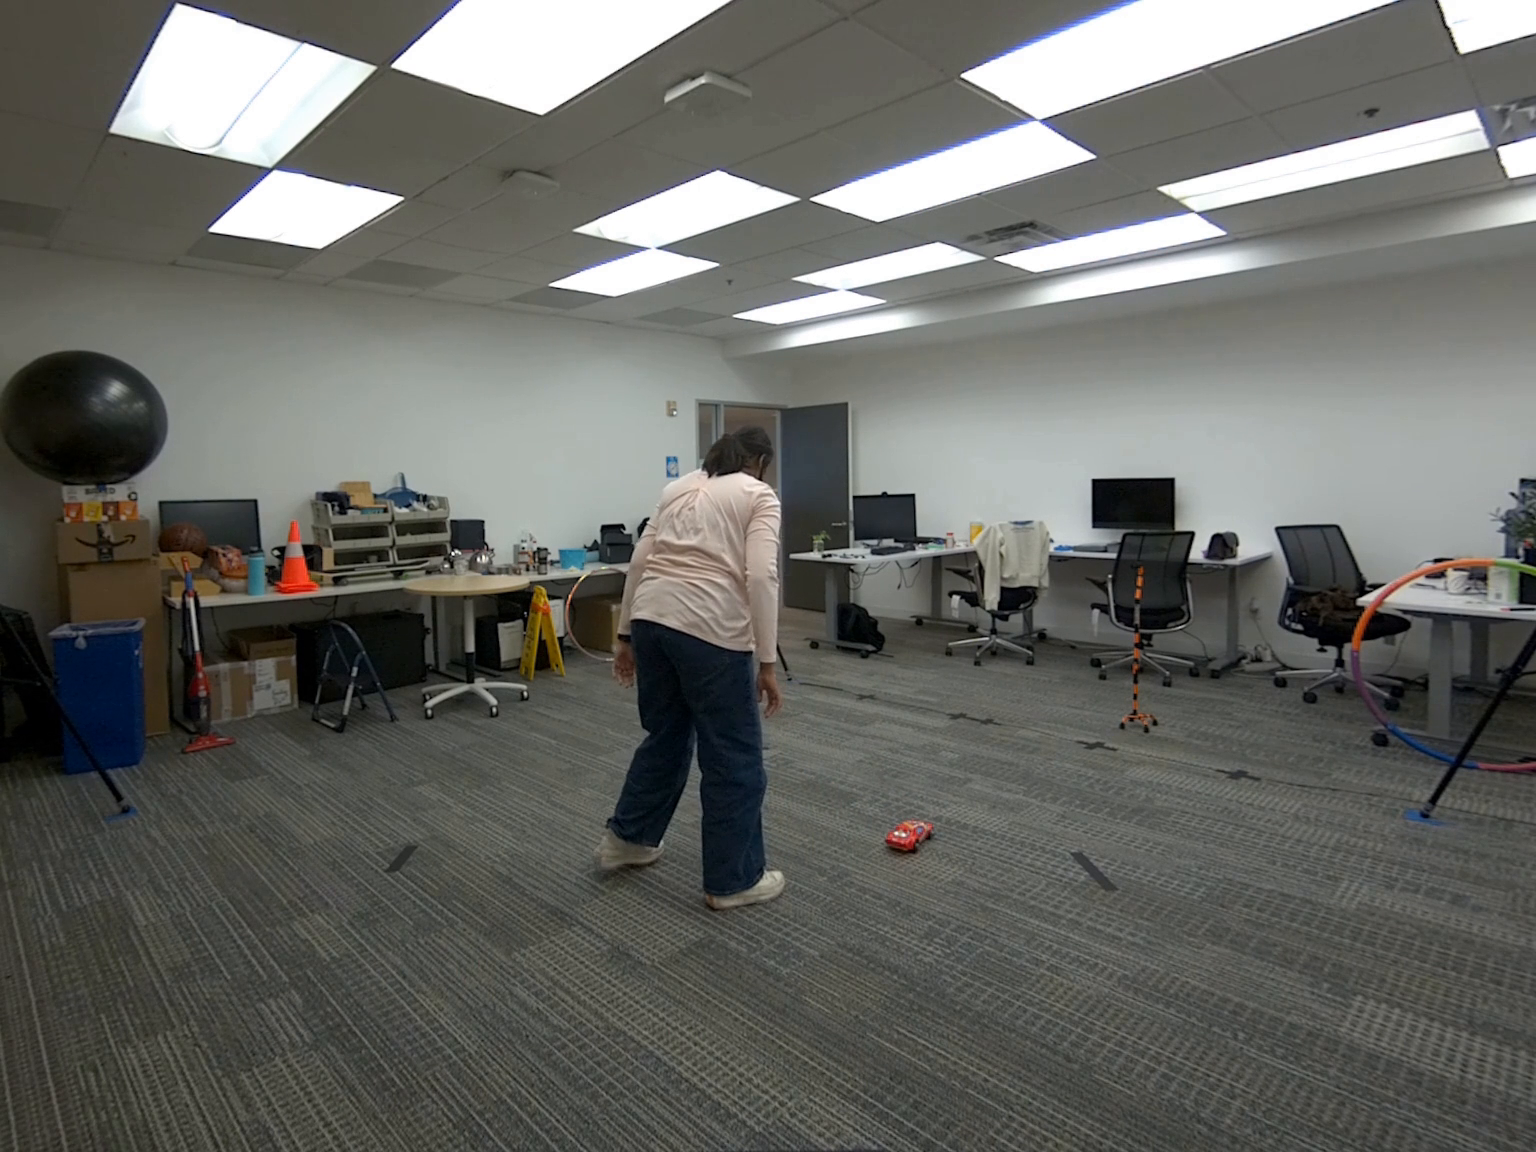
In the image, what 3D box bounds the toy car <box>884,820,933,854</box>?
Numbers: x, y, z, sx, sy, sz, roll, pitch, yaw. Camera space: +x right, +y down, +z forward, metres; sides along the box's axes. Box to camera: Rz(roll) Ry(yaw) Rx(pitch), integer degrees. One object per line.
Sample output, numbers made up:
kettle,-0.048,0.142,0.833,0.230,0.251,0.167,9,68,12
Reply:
toy car,0.539,0.988,3.244,0.134,0.083,0.246,3,-4,36
